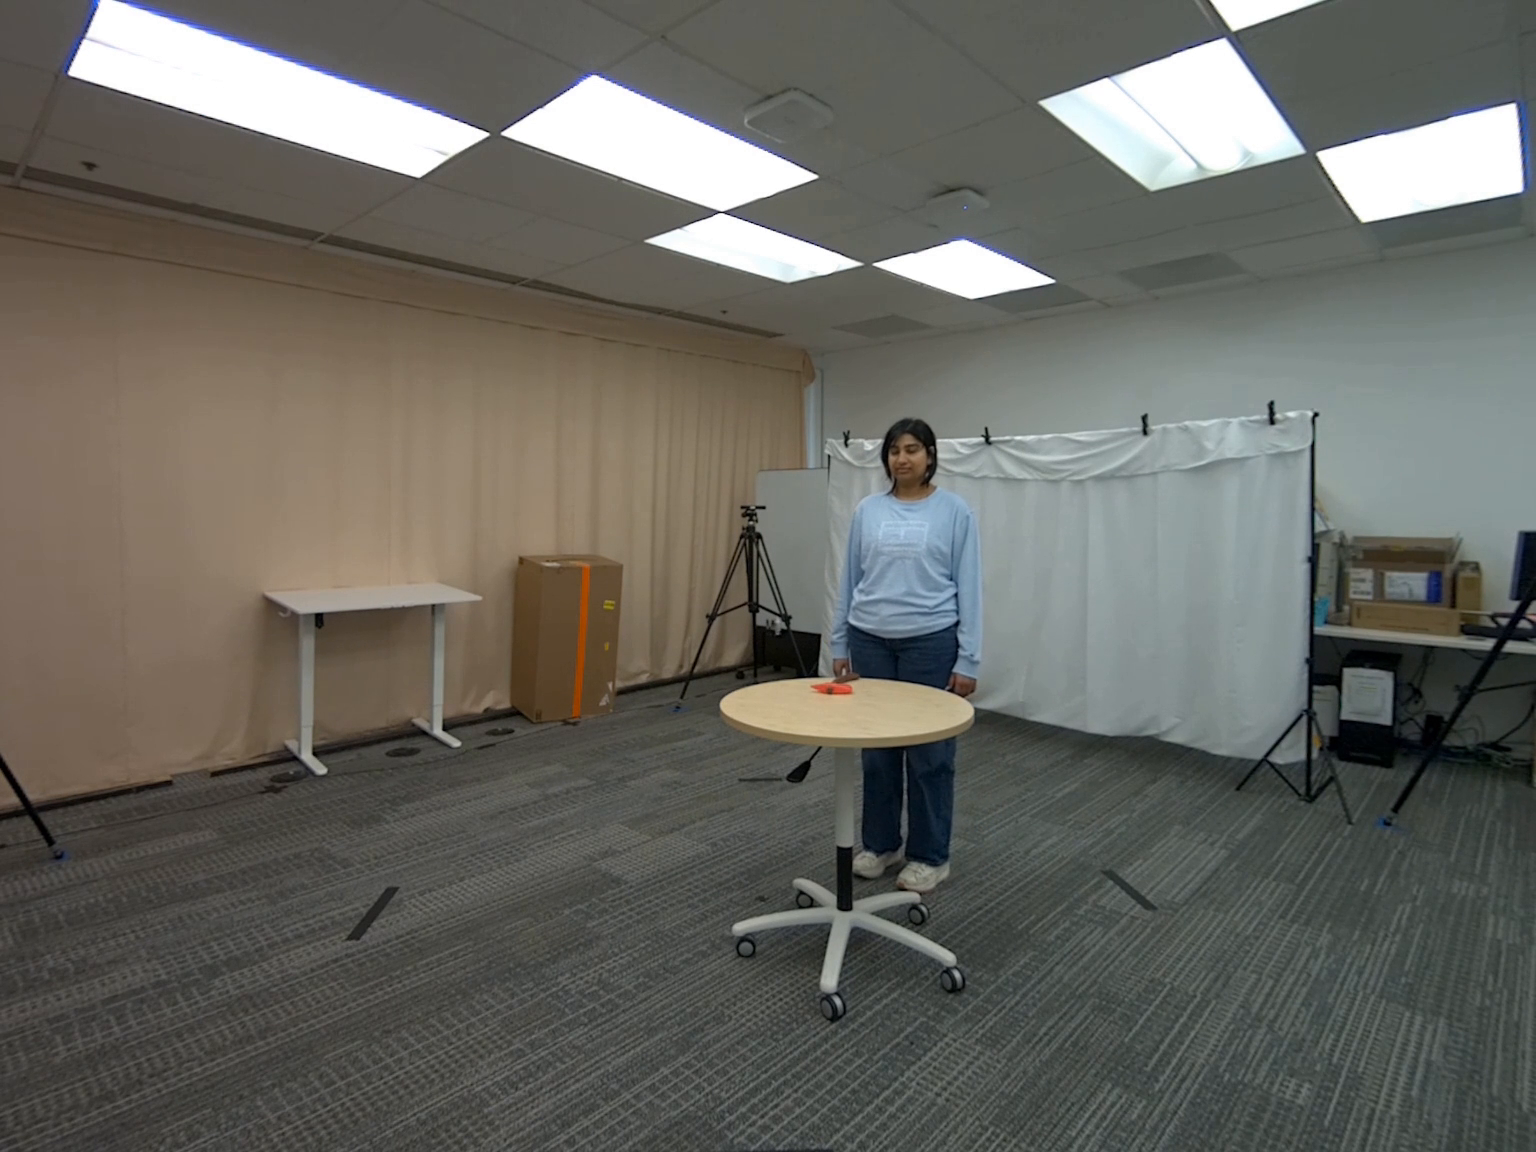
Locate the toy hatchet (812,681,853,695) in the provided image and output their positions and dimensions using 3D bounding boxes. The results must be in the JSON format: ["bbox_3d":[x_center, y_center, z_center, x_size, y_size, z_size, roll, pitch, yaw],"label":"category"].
[{"bbox_3d":[0.263,0.358,2.822,0.135,0.029,0.262,3,5,34],"label":"toy hatchet"}]
